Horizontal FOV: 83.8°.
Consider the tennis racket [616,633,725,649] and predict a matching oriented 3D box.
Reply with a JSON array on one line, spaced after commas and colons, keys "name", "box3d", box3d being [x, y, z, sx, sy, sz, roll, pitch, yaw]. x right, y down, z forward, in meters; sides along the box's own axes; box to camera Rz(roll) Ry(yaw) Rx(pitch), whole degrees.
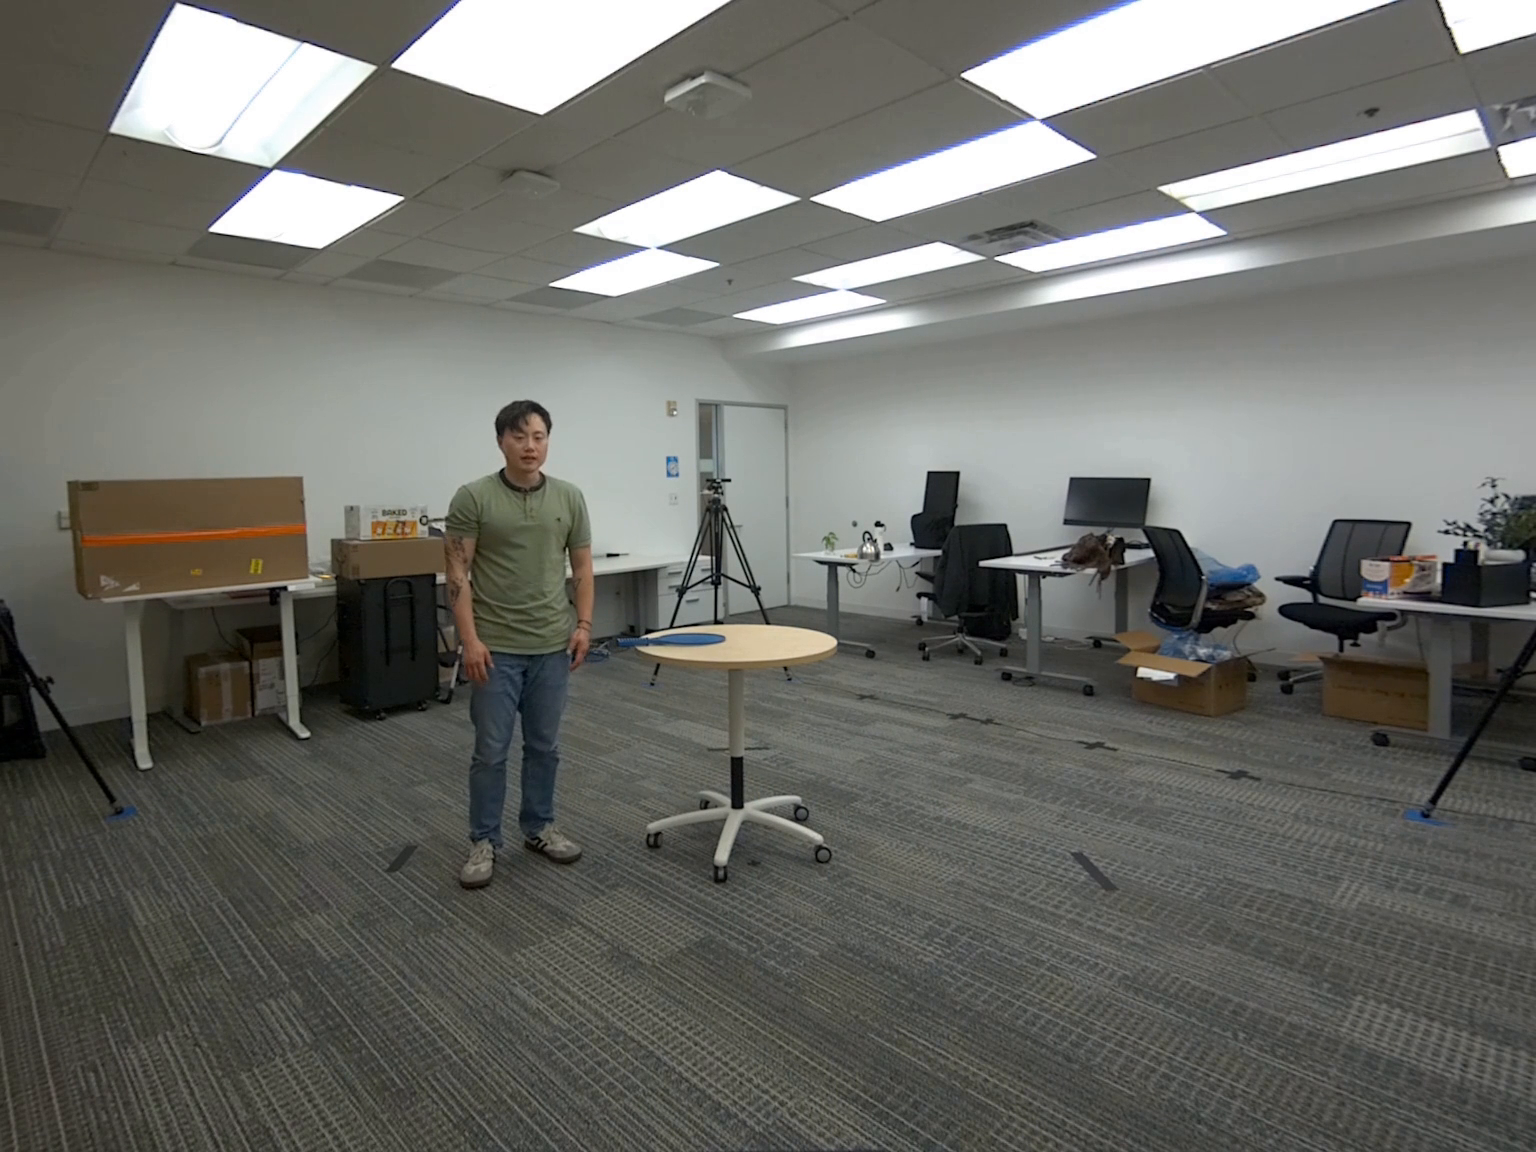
[{"name": "tennis racket", "box3d": [-0.361, 0.241, 3.205, 0.423, 0.032, 0.219, -2, 5, -27]}]
